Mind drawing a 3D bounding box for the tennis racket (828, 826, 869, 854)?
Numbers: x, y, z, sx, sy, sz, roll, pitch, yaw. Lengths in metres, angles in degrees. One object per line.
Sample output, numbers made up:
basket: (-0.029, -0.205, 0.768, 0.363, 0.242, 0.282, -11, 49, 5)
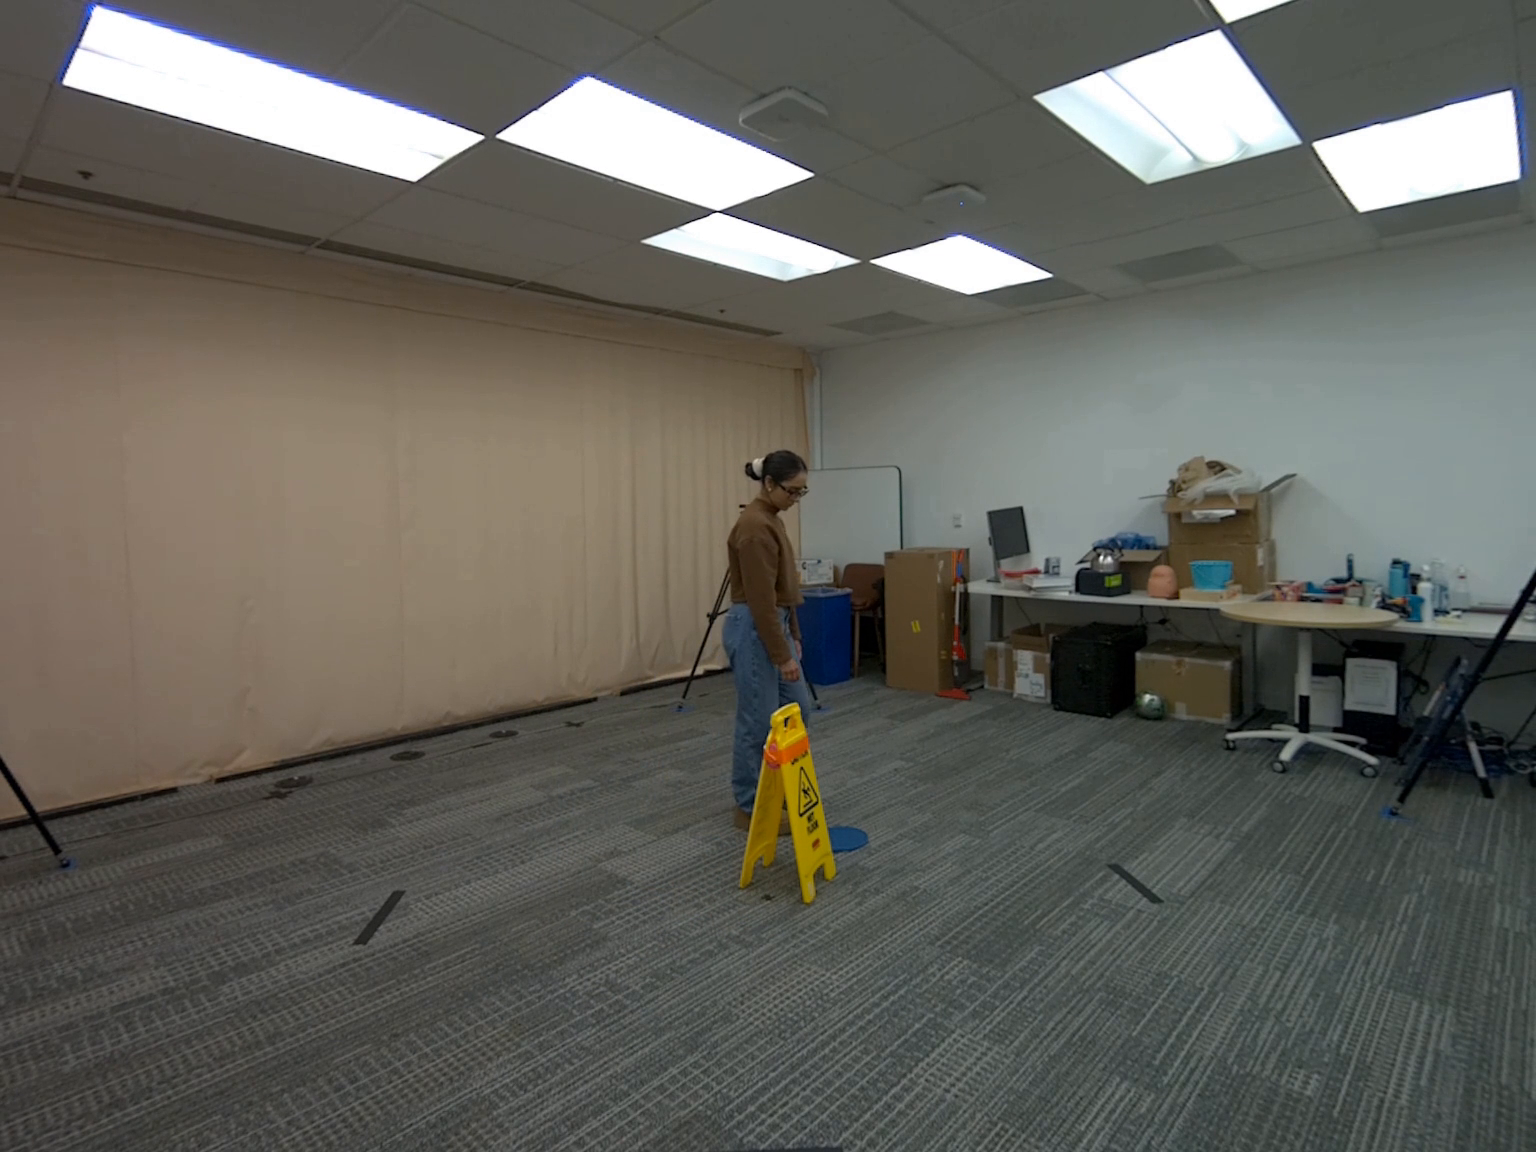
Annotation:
tennis racket: (0.256, 1.082, 3.402, 0.220, 0.032, 0.421, 3, 4, 32)
